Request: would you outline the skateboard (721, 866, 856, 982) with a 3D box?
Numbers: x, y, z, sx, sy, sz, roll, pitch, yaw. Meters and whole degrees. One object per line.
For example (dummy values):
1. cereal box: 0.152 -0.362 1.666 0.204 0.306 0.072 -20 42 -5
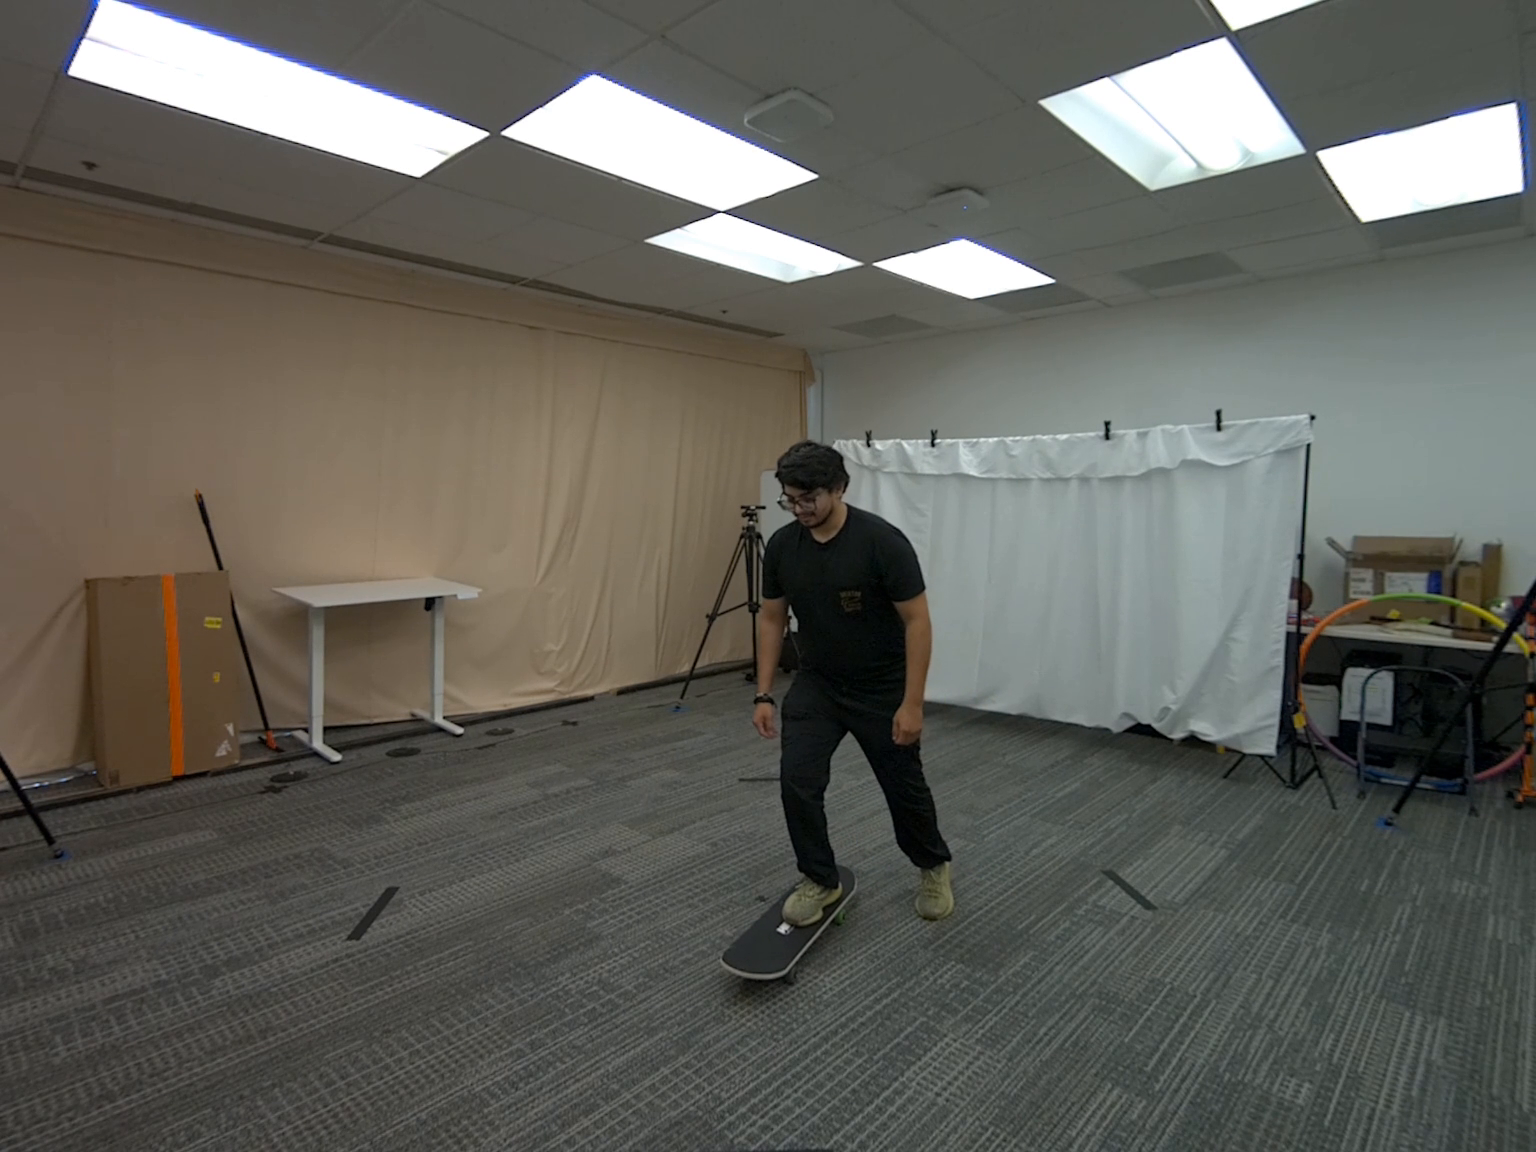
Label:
1. skateboard: 0.096 1.119 2.666 0.199 0.110 0.767 5 7 25
